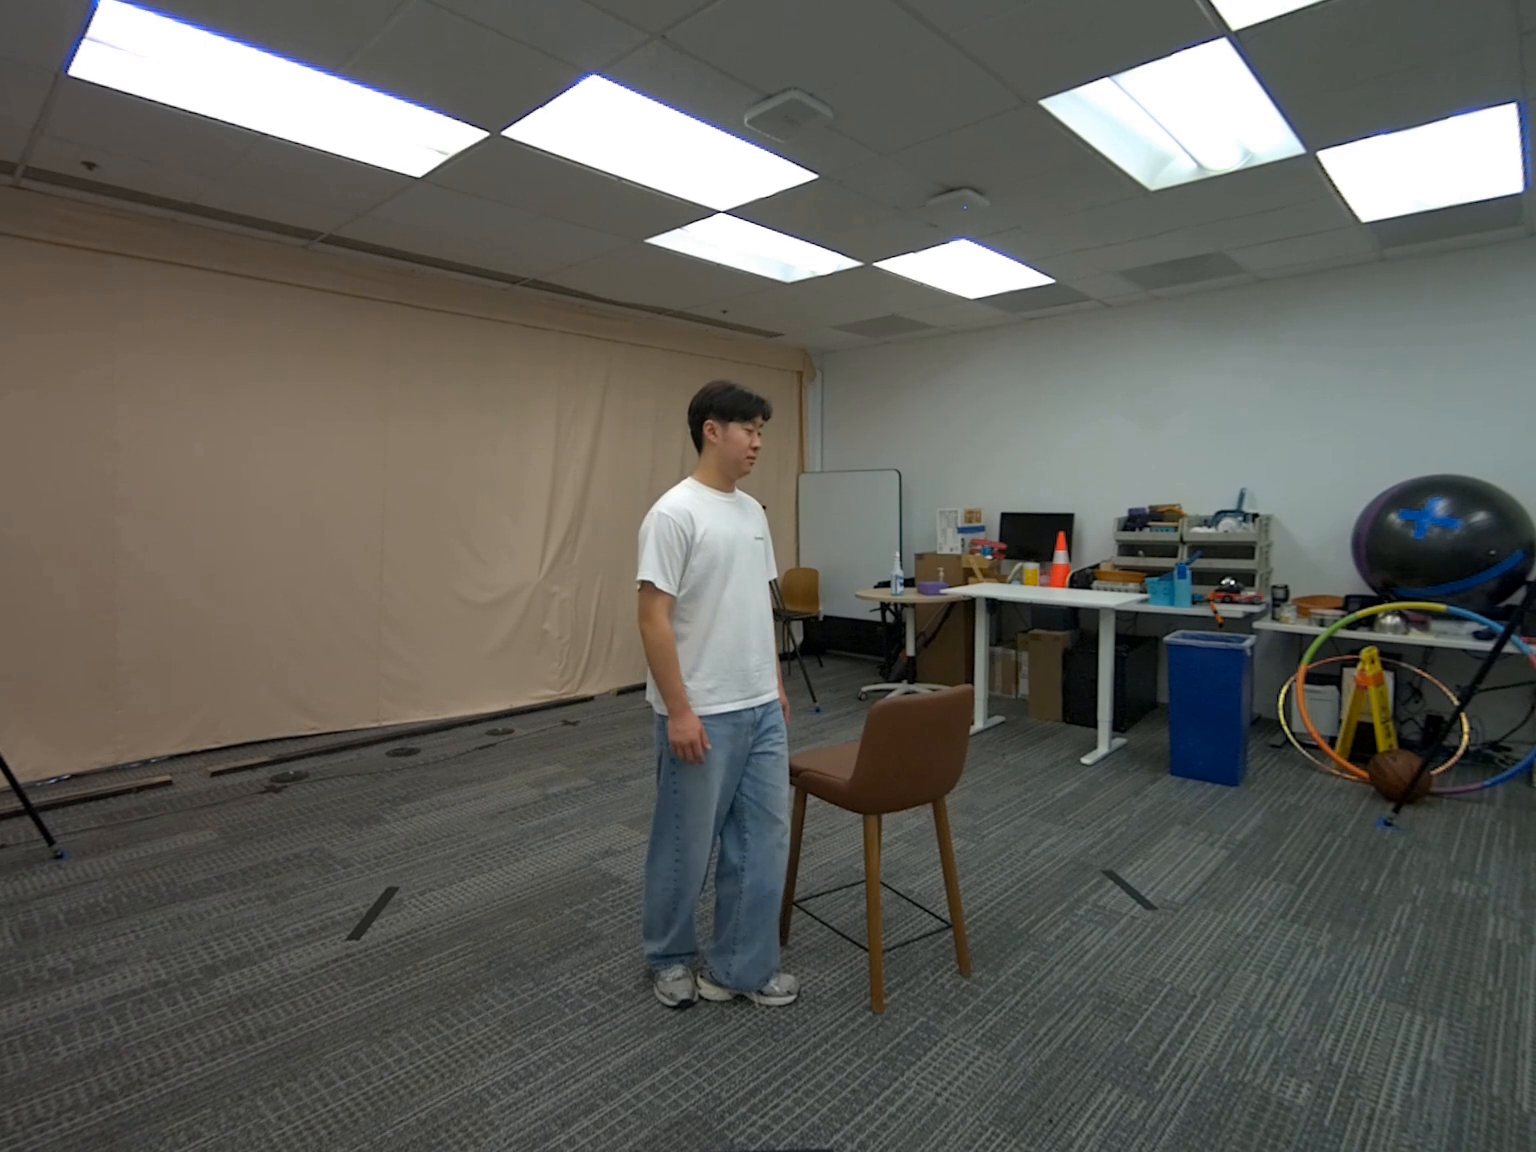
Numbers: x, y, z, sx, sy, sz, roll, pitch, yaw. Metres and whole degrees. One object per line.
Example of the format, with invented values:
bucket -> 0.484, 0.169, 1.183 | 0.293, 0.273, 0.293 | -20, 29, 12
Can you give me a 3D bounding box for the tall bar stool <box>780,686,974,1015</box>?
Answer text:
tall bar stool -> 0.338, 0.744, 2.563 | 0.443, 0.887, 0.483 | -2, 6, -34
